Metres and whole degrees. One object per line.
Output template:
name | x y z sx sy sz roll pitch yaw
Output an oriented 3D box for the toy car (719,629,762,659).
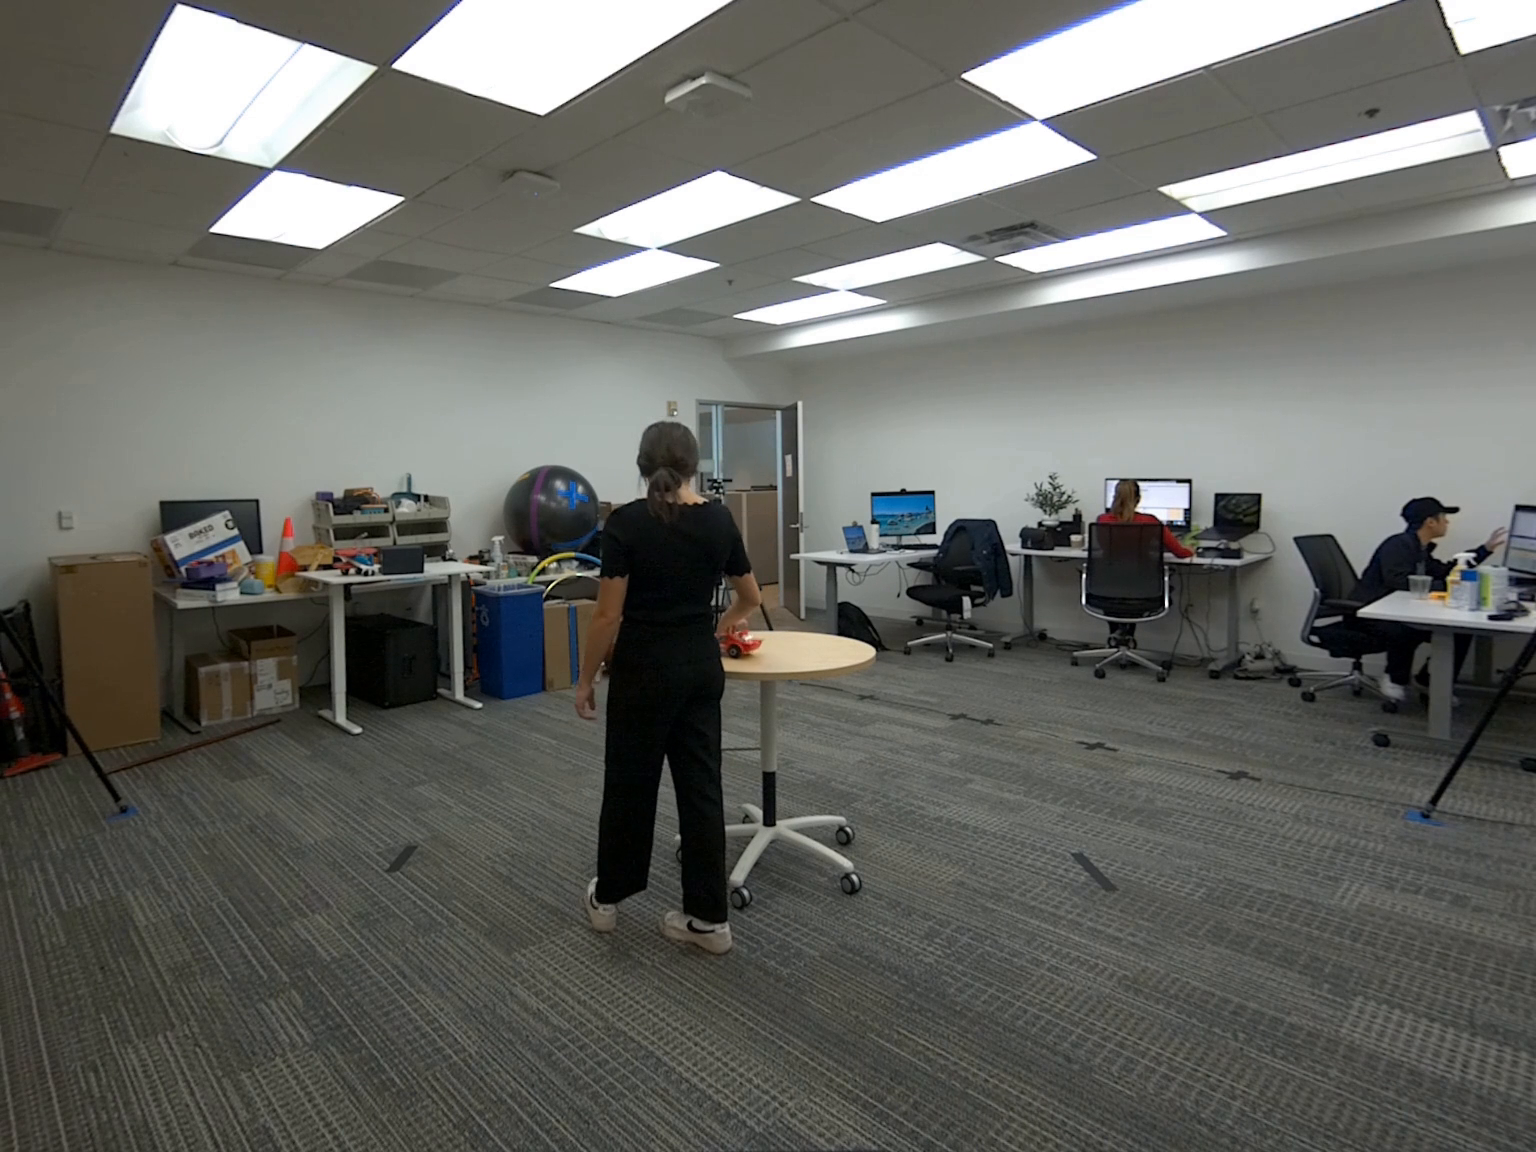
toy car | -0.135 0.245 2.978 0.259 0.083 0.127 -10 -1 27
